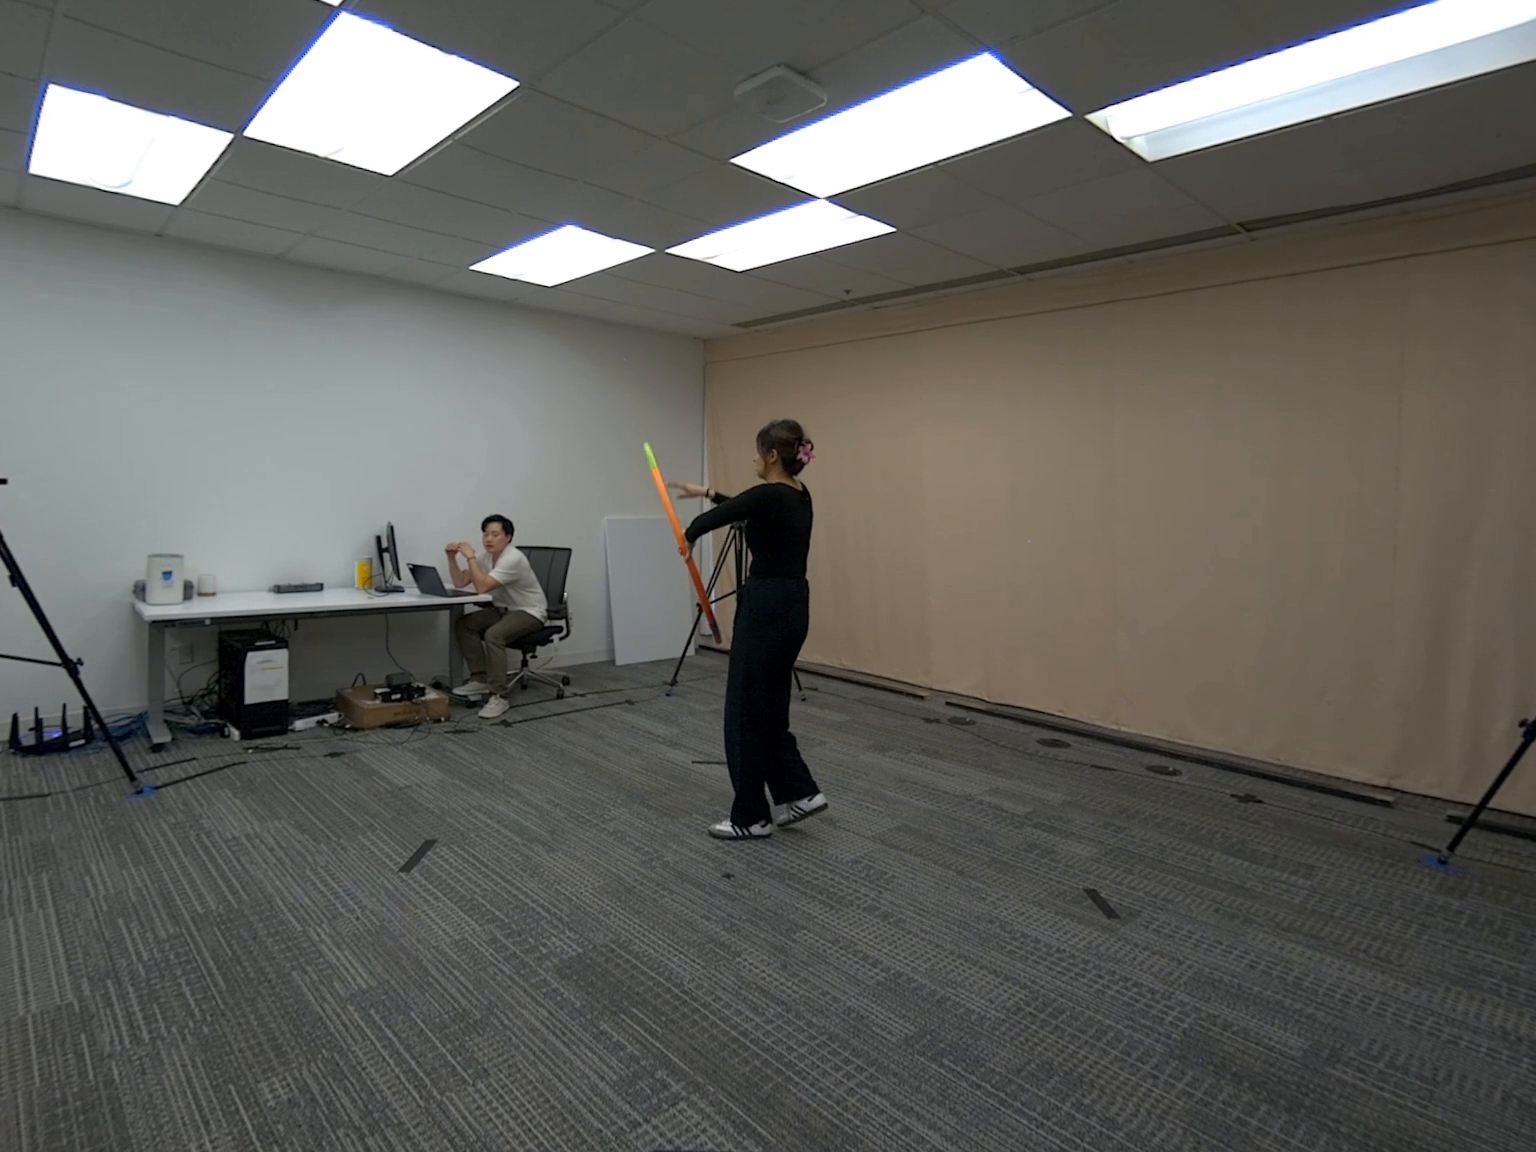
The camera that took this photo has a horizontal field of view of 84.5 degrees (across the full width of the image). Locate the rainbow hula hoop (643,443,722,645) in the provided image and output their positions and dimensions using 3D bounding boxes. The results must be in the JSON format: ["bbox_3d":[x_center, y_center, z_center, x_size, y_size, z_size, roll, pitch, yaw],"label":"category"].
[{"bbox_3d":[-0.404,-0.131,3.881,0.051,0.981,0.992,-19,6,-5],"label":"rainbow hula hoop"}]
